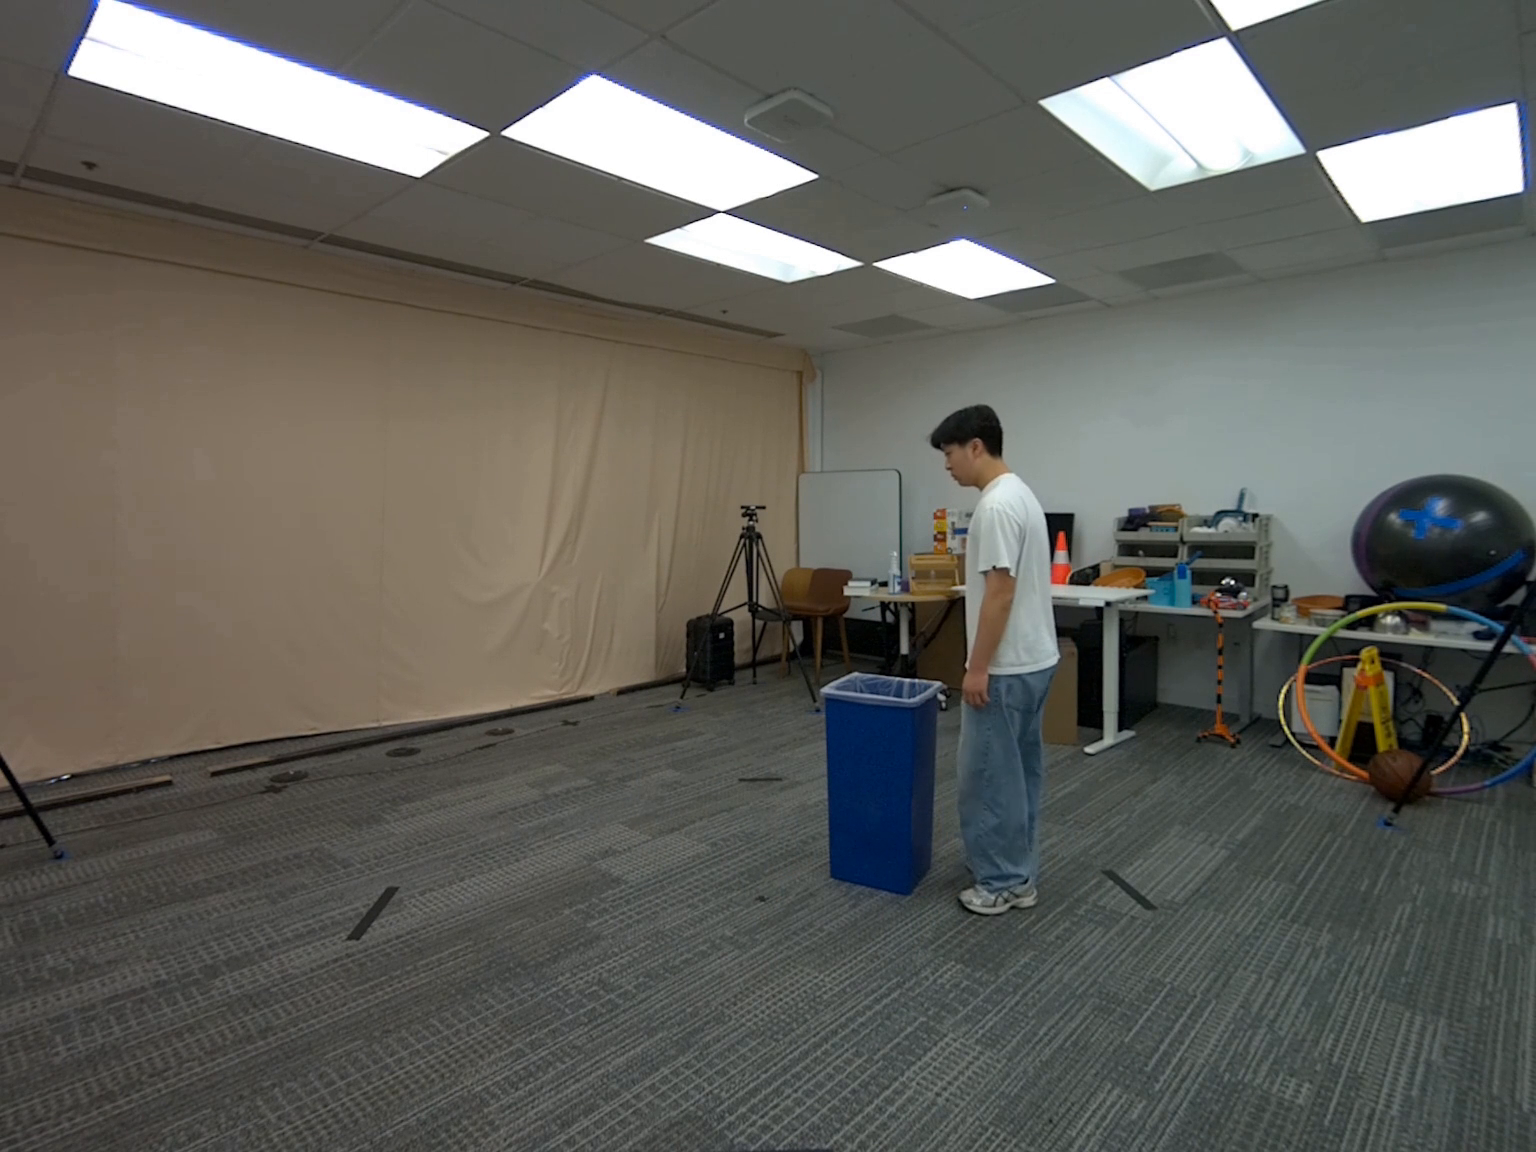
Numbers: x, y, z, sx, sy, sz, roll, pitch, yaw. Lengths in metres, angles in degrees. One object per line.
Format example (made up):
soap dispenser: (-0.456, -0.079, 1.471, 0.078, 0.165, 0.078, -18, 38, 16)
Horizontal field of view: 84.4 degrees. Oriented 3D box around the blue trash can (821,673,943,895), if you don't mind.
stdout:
blue trash can: (0.439, 0.766, 3.174, 0.388, 0.712, 0.364, 2, 3, 28)
